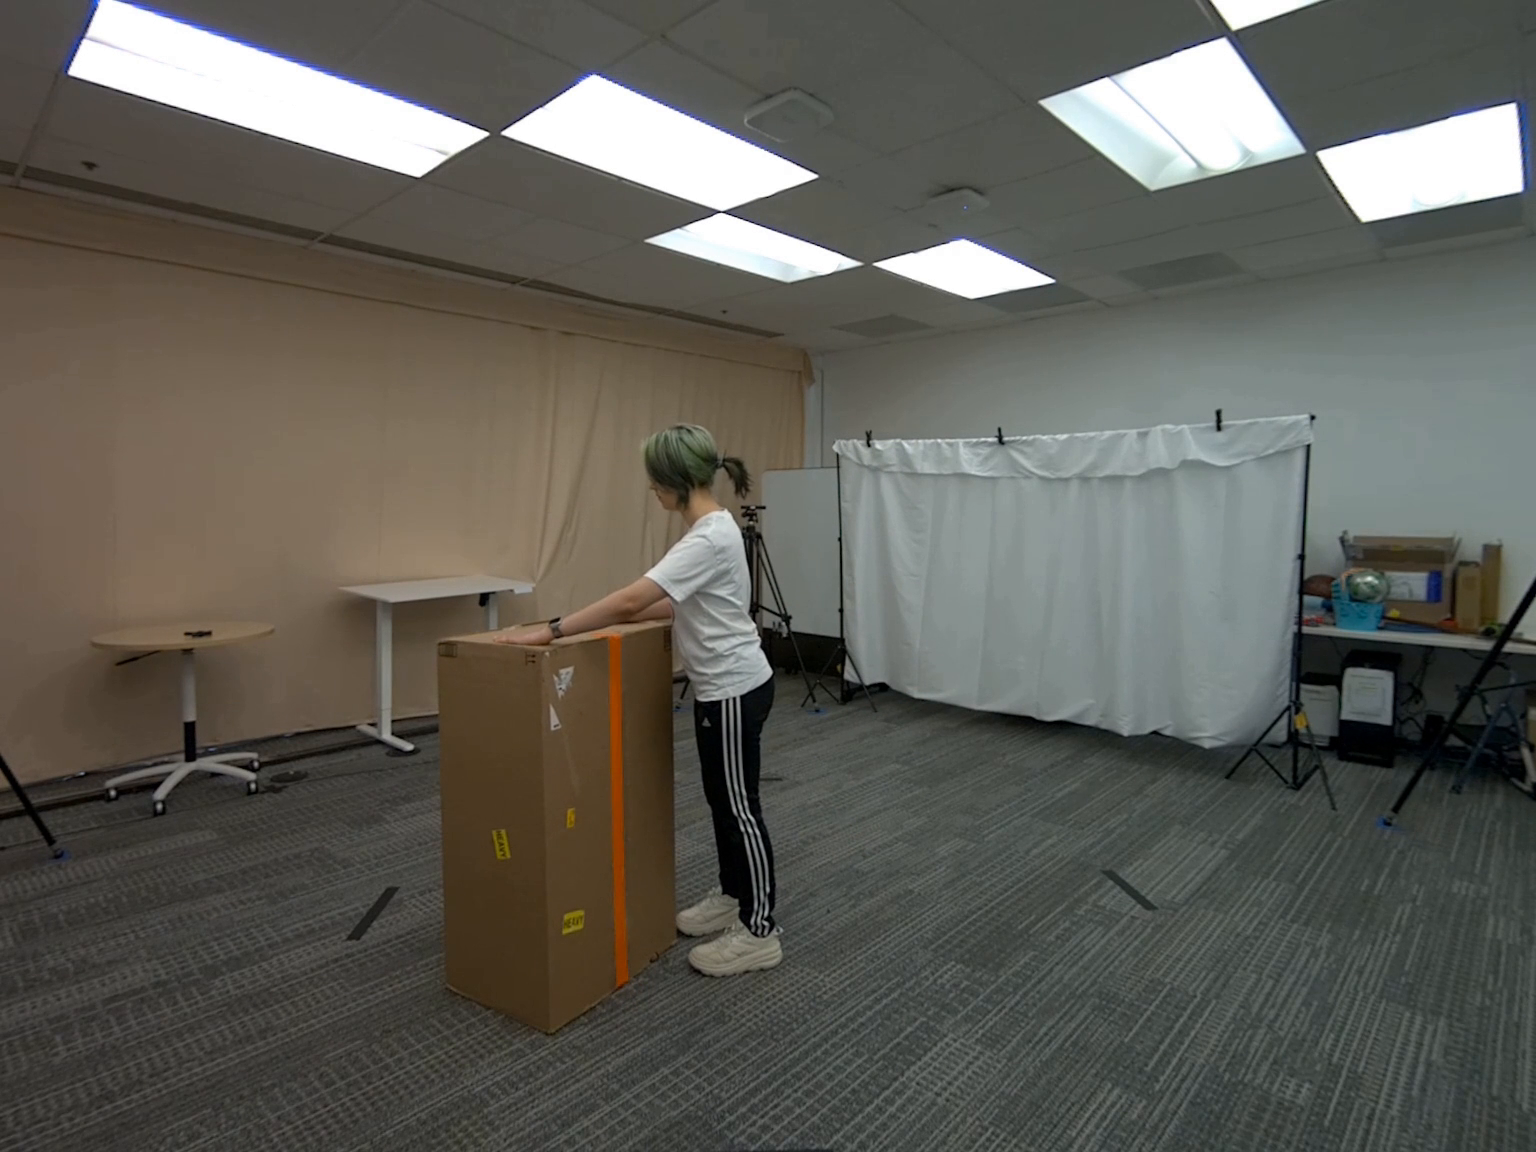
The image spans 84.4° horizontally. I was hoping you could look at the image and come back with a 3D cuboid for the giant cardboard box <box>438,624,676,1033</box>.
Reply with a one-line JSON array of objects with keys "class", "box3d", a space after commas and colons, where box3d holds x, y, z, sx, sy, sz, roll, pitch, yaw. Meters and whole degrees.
[{"class": "giant cardboard box", "box3d": [-0.622, 0.682, 2.541, 0.460, 1.026, 0.568, 0, 2, 30]}]
